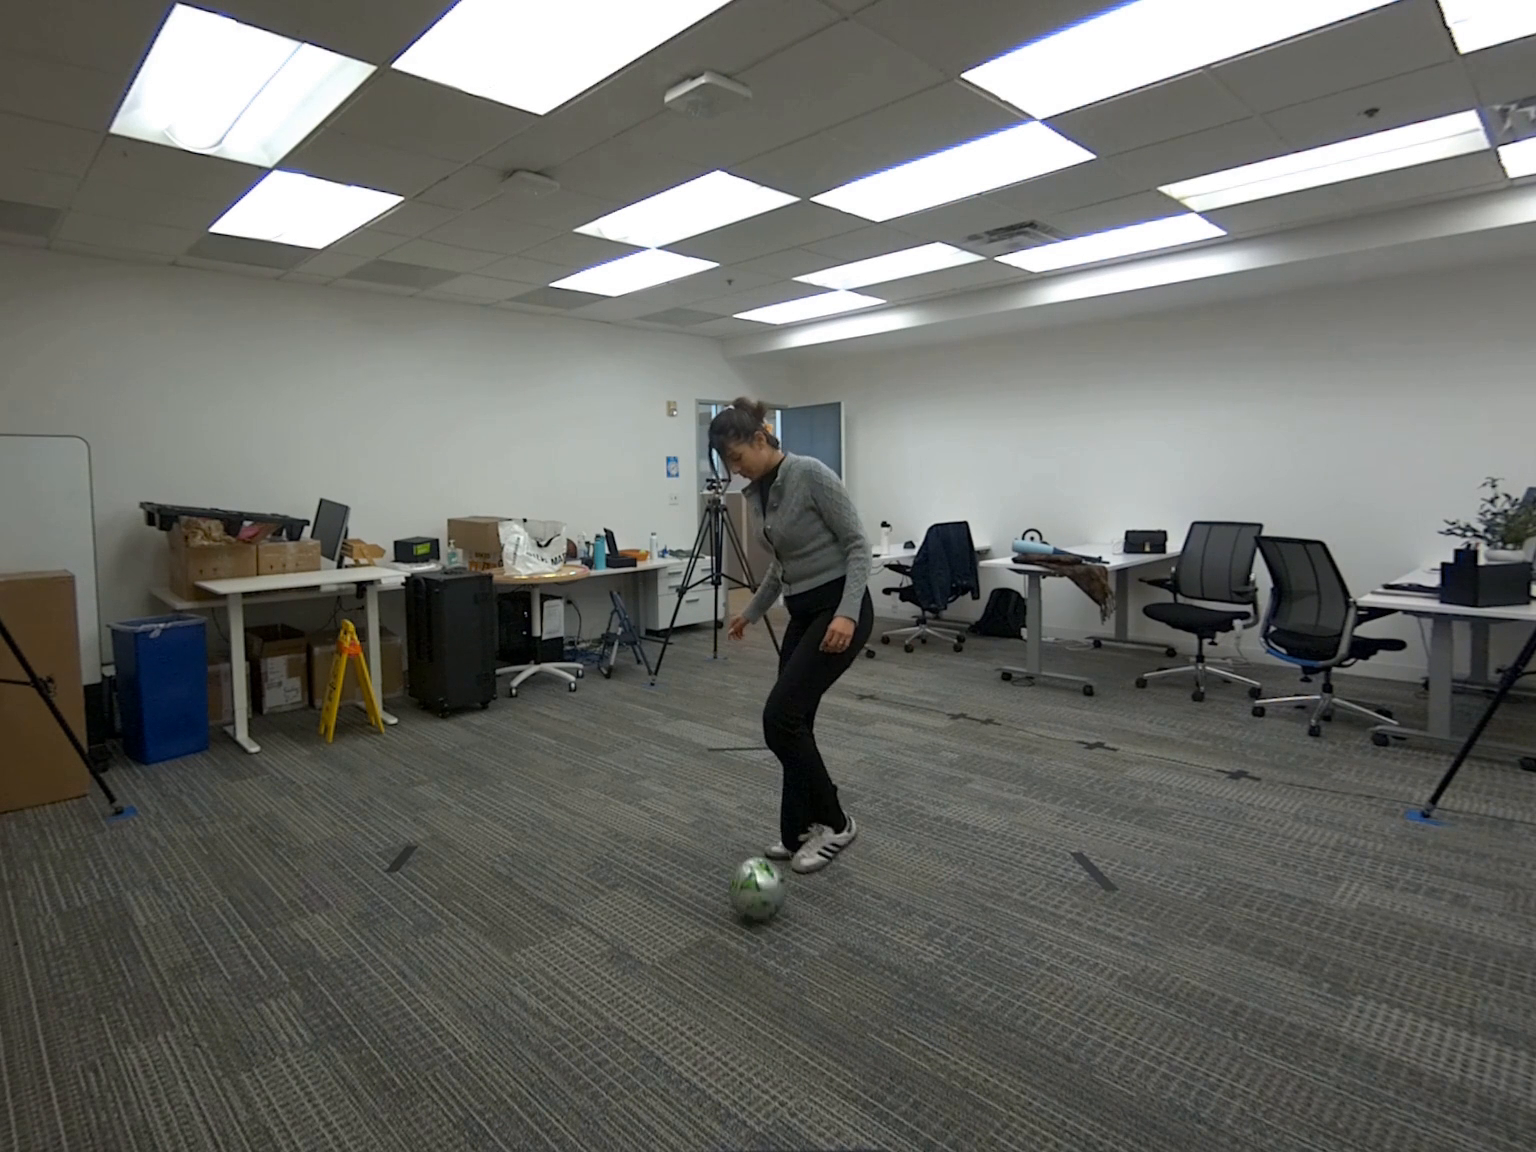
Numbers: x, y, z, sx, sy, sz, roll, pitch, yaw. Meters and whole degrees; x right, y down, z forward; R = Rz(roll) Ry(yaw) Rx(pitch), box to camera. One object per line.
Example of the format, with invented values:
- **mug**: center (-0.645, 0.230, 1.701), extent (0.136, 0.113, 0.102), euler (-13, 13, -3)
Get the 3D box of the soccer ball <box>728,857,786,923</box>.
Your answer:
- **soccer ball**: center (-0.029, 0.997, 2.706), extent (0.187, 0.187, 0.188), euler (-1, 5, -2)
